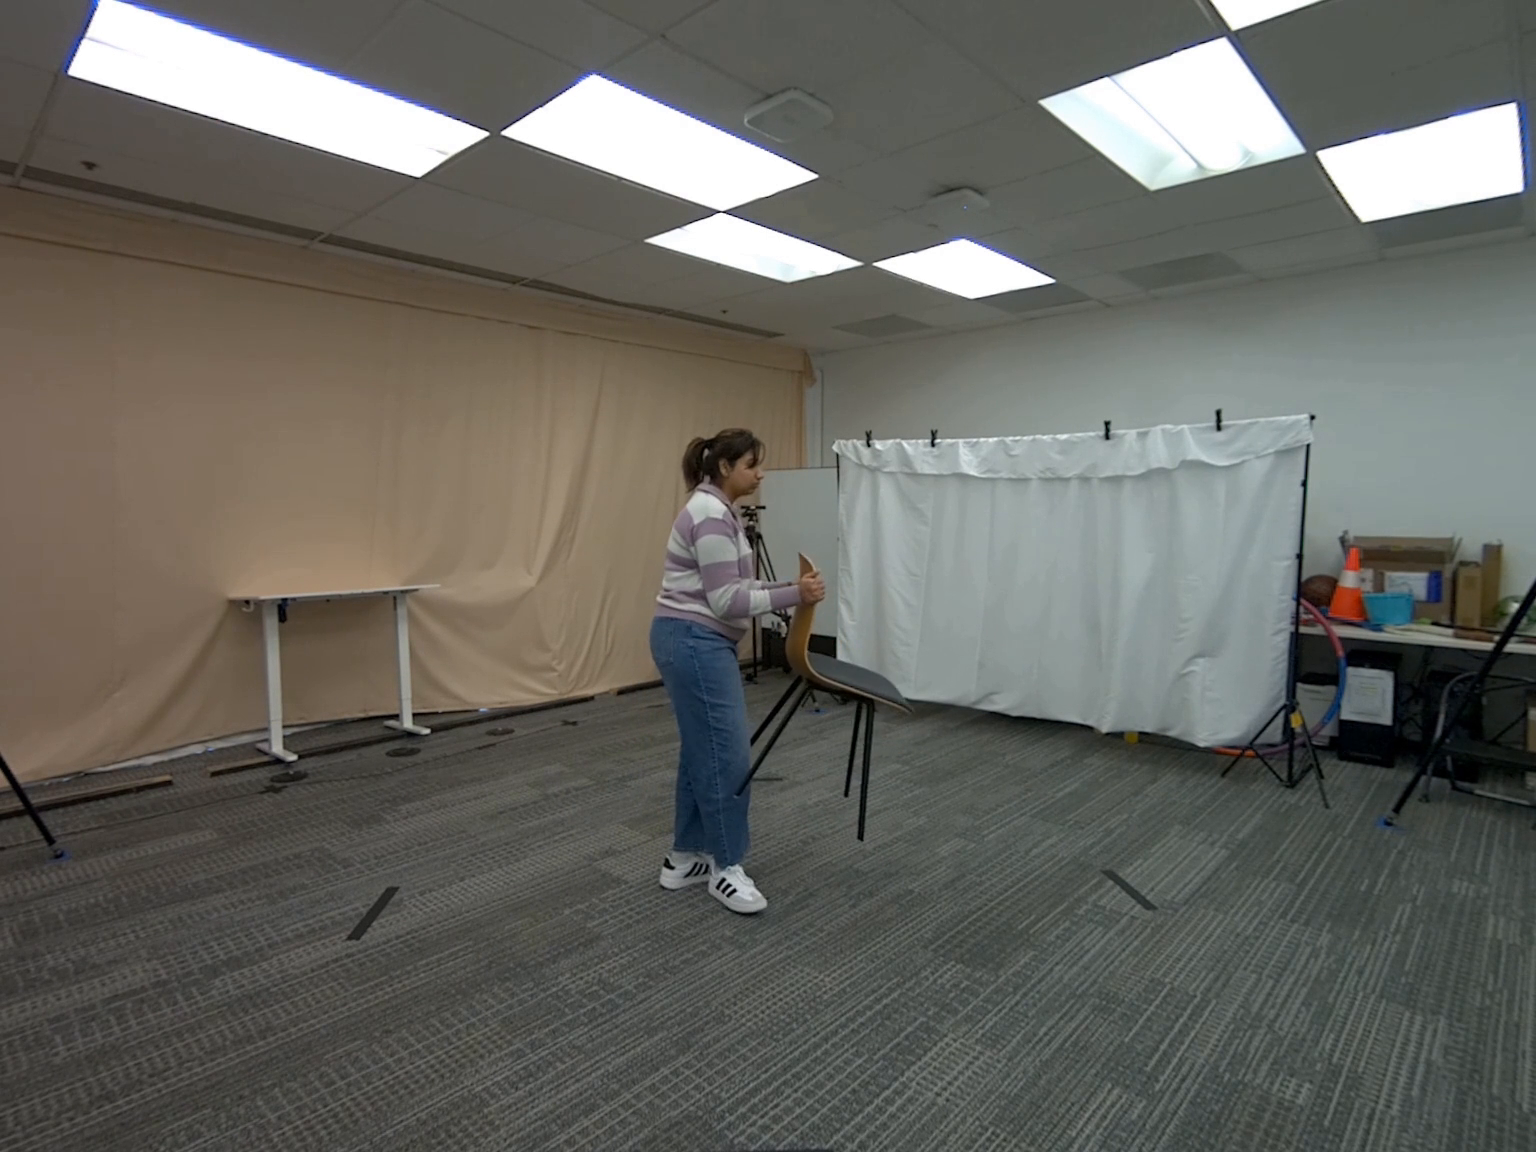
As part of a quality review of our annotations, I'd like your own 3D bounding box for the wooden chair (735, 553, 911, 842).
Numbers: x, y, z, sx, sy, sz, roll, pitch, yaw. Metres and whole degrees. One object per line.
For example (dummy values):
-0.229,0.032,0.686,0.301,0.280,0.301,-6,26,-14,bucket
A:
0.252,0.404,3.010,0.523,0.876,0.478,15,3,-1,wooden chair
